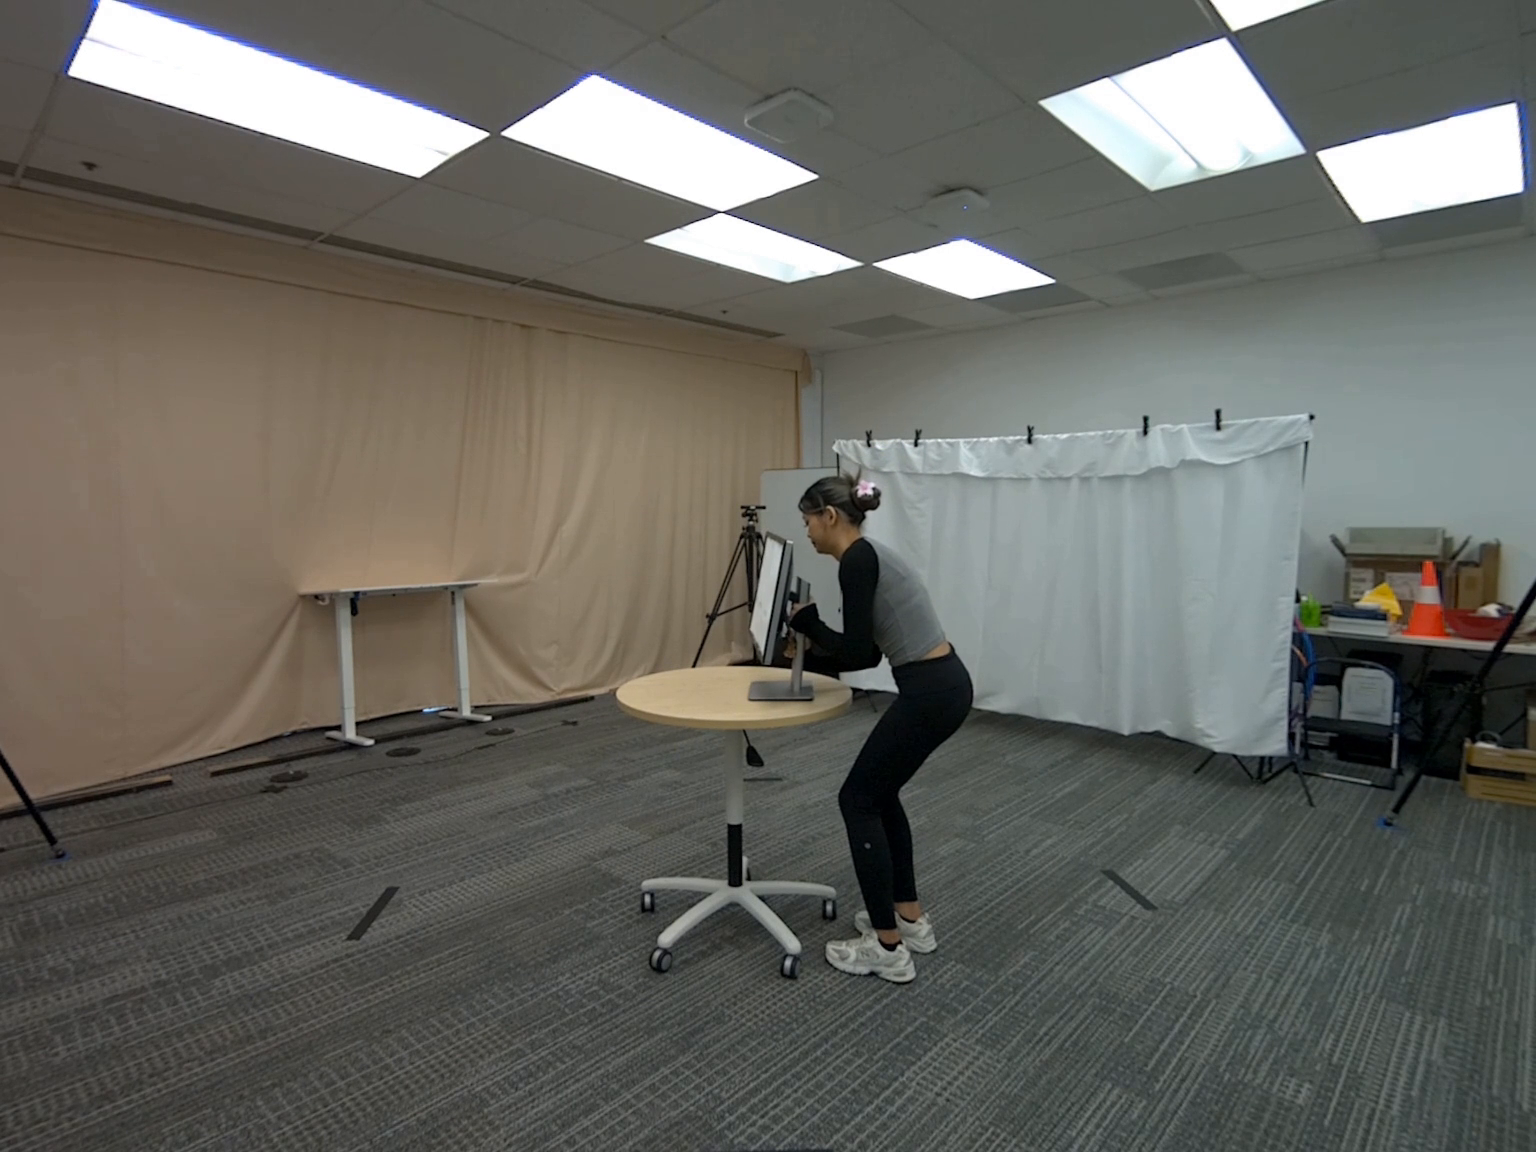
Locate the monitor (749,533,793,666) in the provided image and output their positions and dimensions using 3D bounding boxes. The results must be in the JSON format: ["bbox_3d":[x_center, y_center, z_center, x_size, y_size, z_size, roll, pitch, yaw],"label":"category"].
[{"bbox_3d":[0.048,0.131,2.695,0.186,0.521,0.544,-2,5,-8],"label":"monitor"}]
